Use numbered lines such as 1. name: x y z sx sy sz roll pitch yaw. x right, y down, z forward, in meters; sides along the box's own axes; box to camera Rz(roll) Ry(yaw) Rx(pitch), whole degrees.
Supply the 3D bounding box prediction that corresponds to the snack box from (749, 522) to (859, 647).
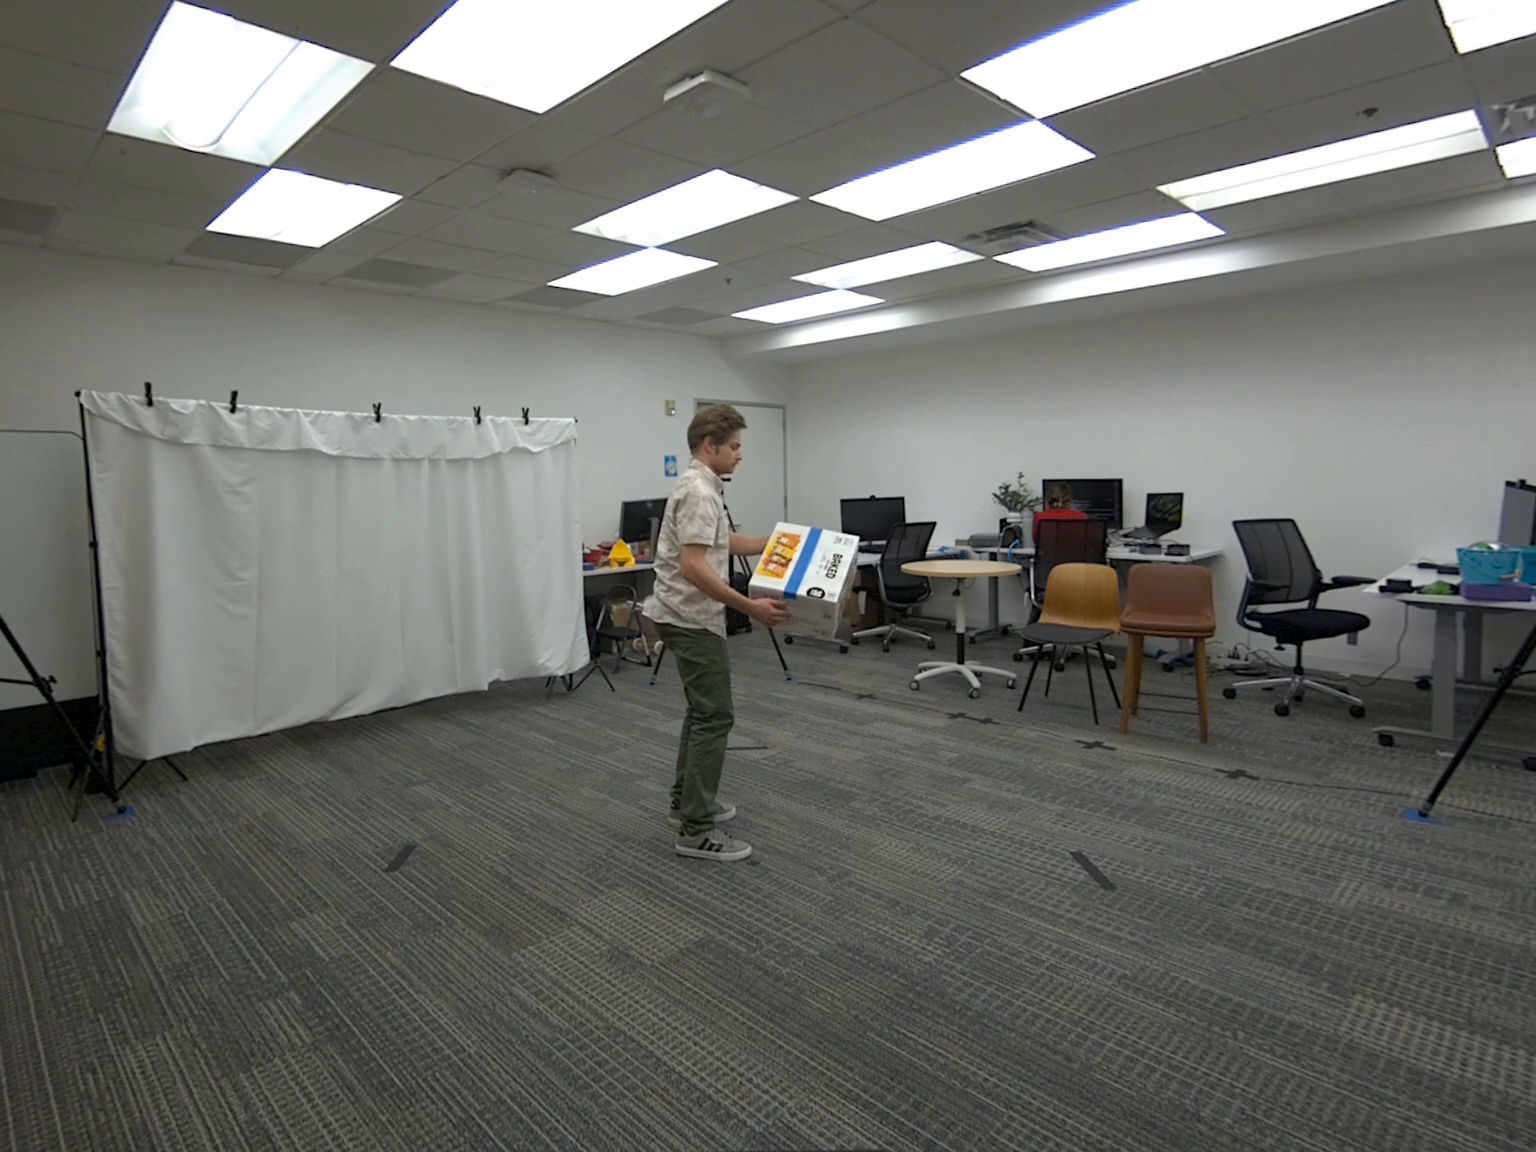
1. snack box: 0.143 0.016 3.369 0.346 0.200 0.409 10 42 15
